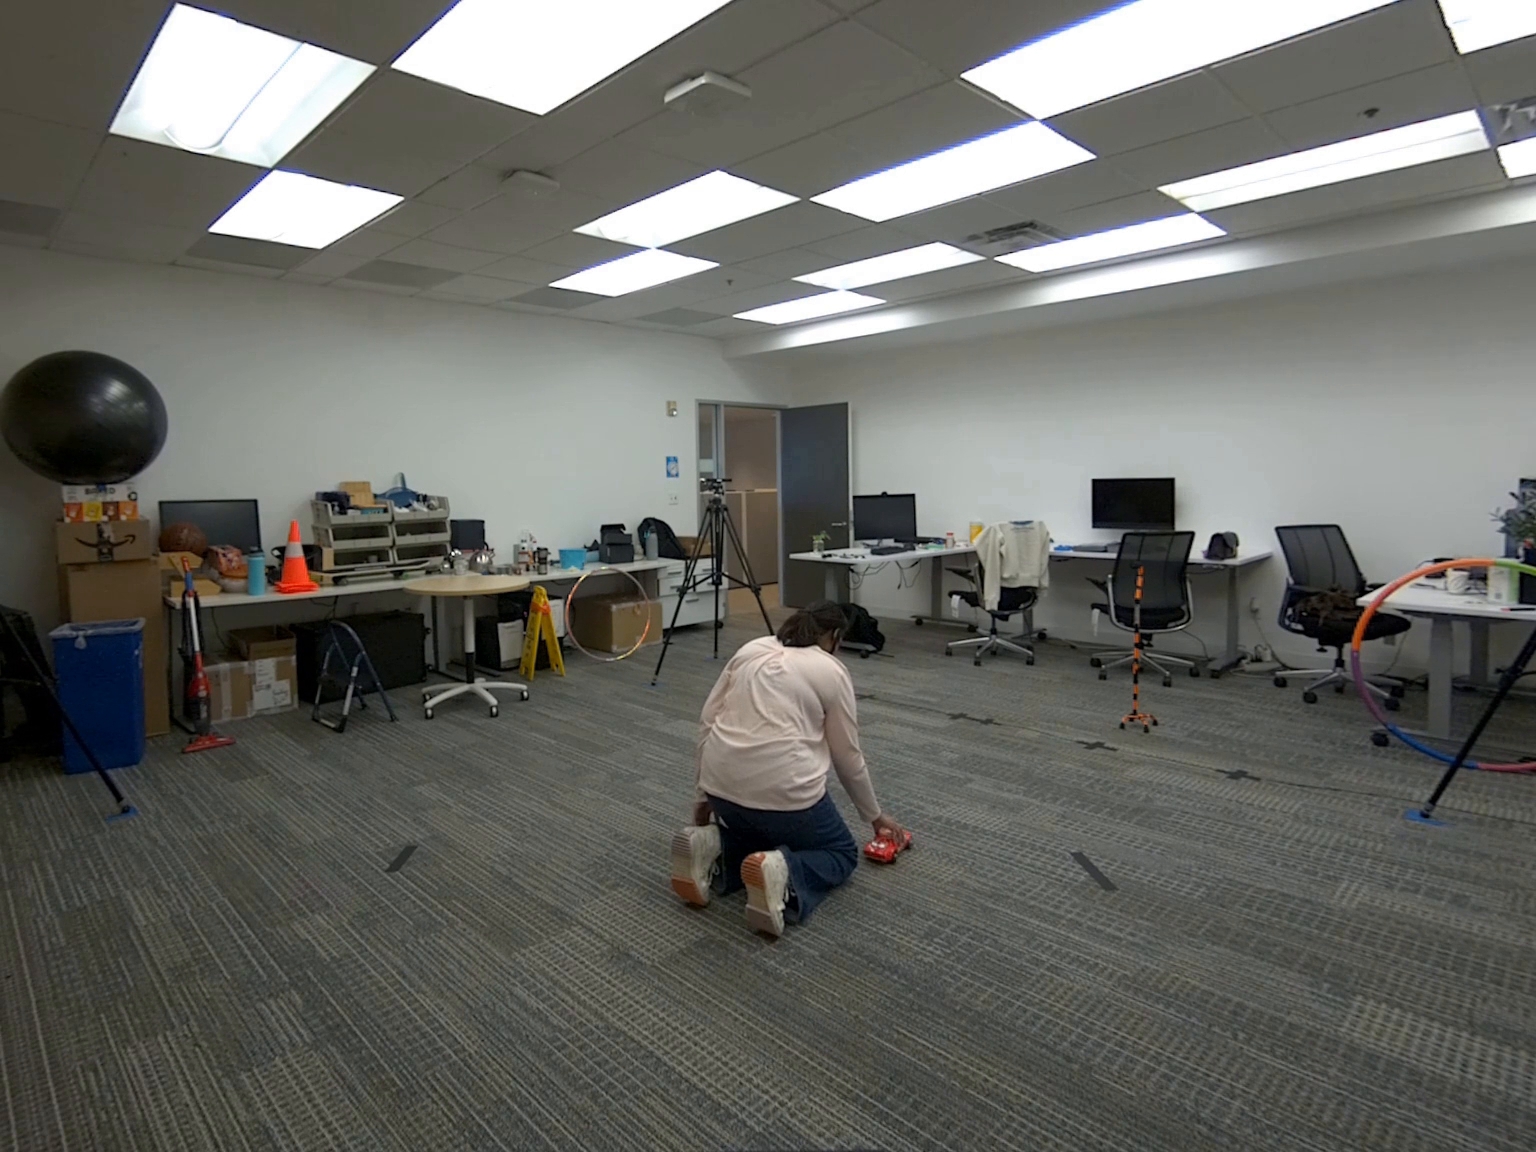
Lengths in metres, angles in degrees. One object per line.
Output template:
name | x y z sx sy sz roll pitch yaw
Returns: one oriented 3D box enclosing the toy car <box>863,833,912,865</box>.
toy car | 0.443 0.999 3.159 0.134 0.083 0.247 3 -3 33
